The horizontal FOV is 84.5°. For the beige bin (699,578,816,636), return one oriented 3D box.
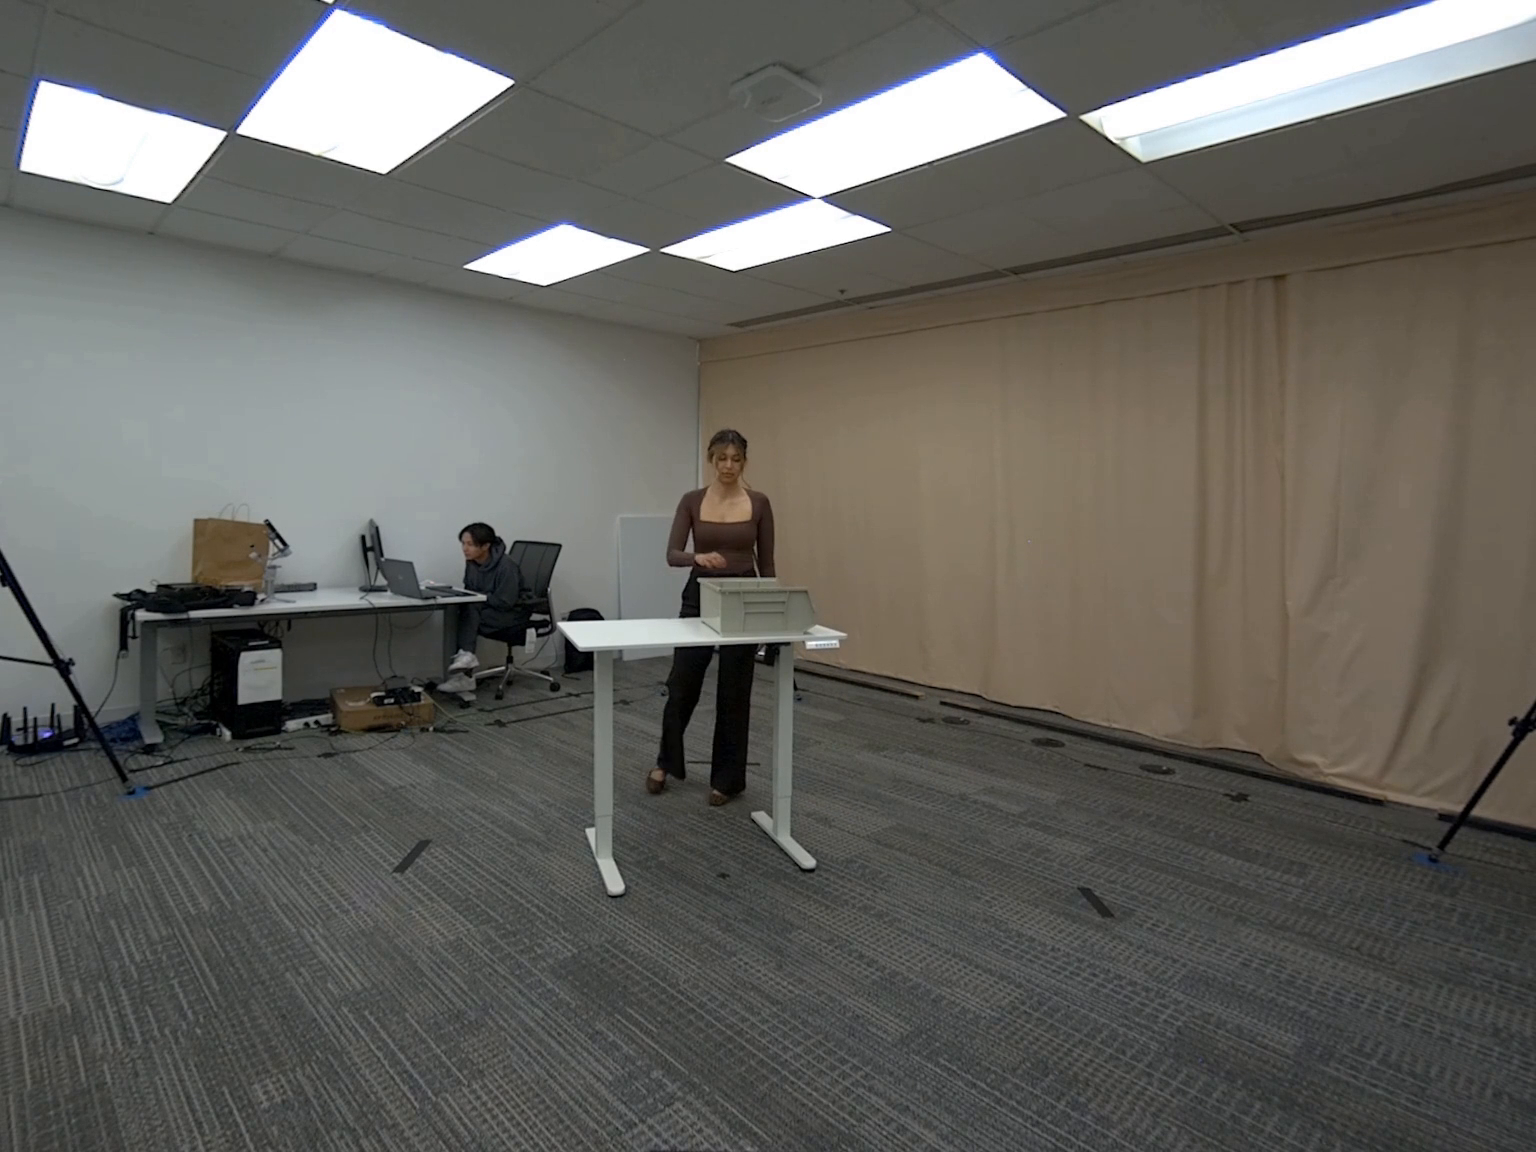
[{"bbox_3d":[-0.065,0.120,3.289,0.373,0.188,0.429,-1,5,-16],"label":"beige bin"}]
